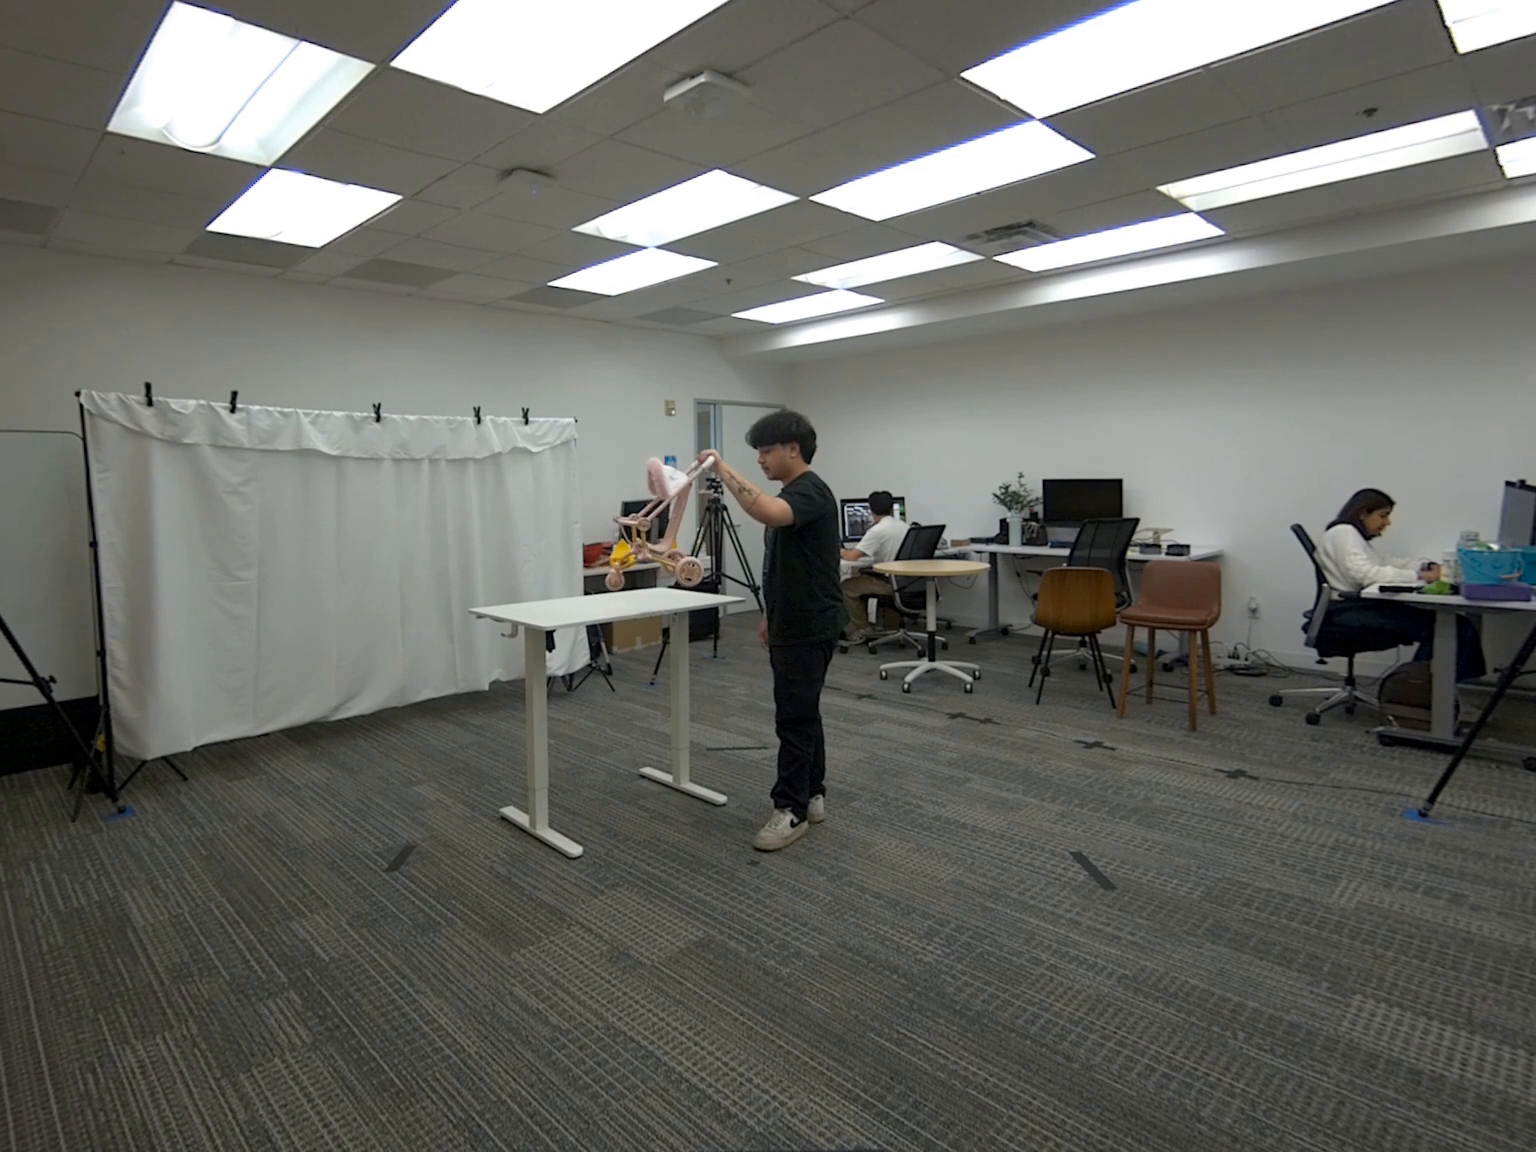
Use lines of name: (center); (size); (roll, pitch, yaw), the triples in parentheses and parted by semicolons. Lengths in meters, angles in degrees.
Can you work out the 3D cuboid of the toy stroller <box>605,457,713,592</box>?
toy stroller: (-0.415, -0.190, 3.173); (0.337, 0.533, 0.286); (5, 5, -12)
